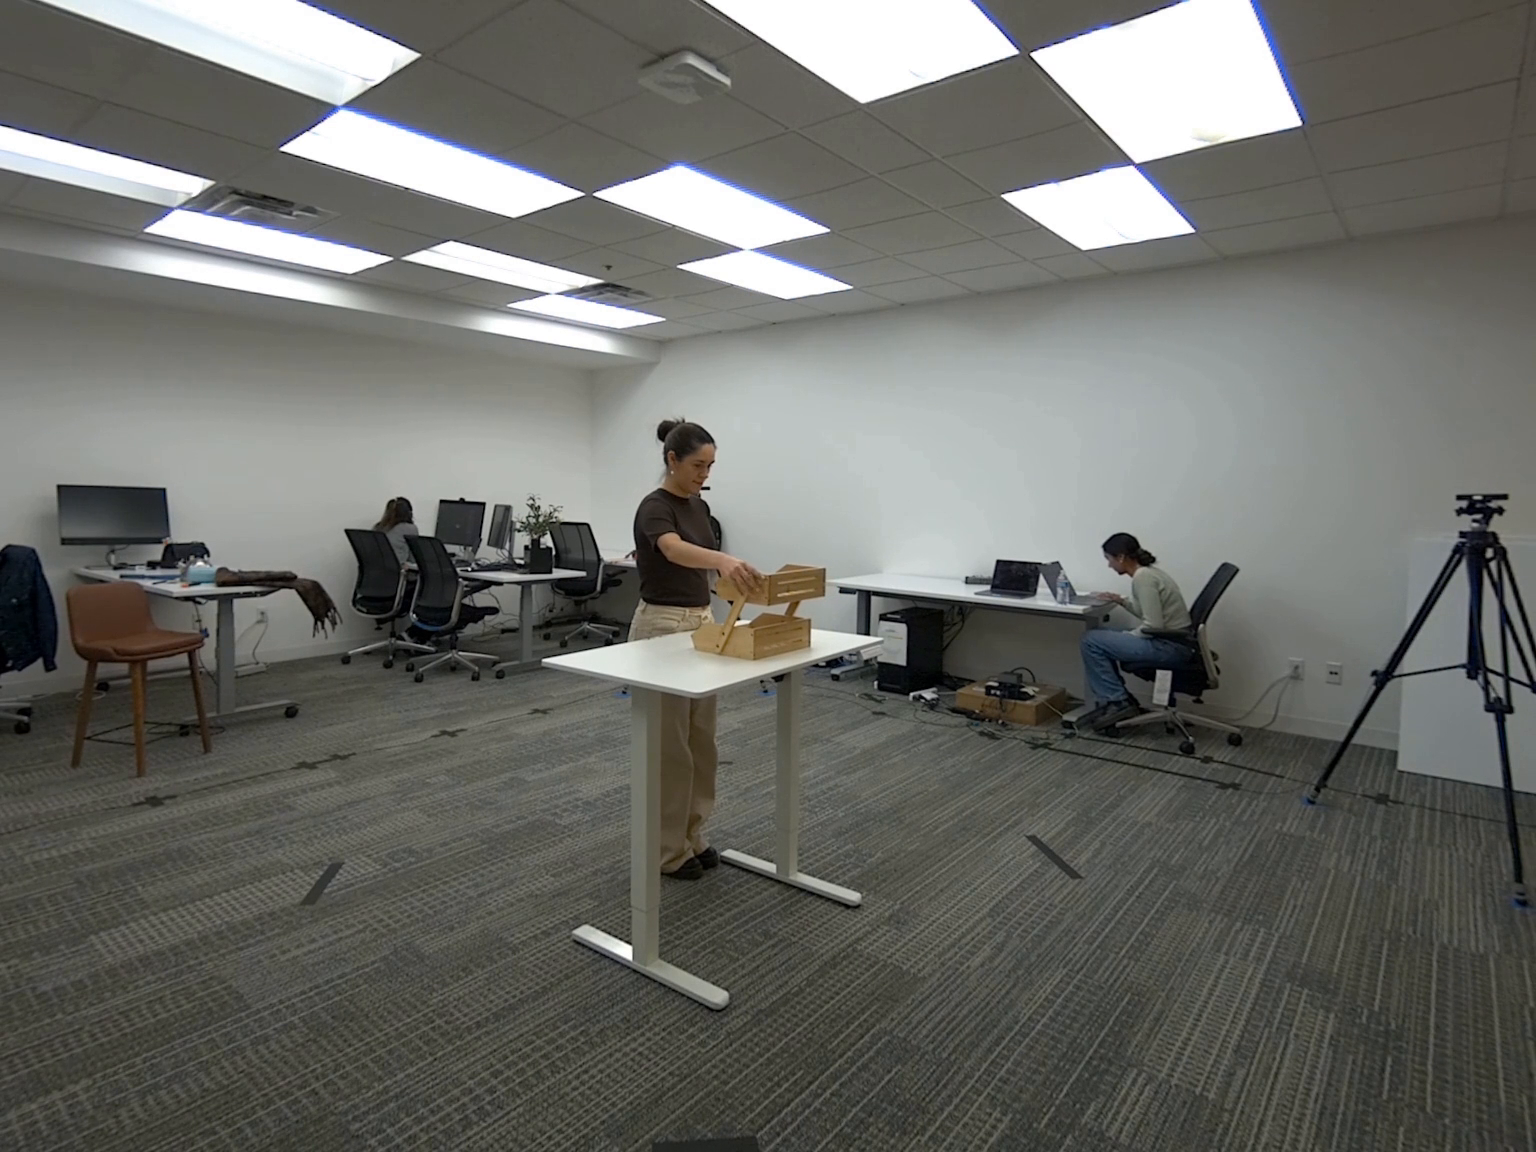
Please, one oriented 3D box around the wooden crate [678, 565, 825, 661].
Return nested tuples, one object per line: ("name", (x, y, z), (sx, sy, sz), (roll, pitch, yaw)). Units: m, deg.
("wooden crate", (-0.037, 0.099, 2.673), (0.312, 0.272, 0.315), (6, 8, 39))
